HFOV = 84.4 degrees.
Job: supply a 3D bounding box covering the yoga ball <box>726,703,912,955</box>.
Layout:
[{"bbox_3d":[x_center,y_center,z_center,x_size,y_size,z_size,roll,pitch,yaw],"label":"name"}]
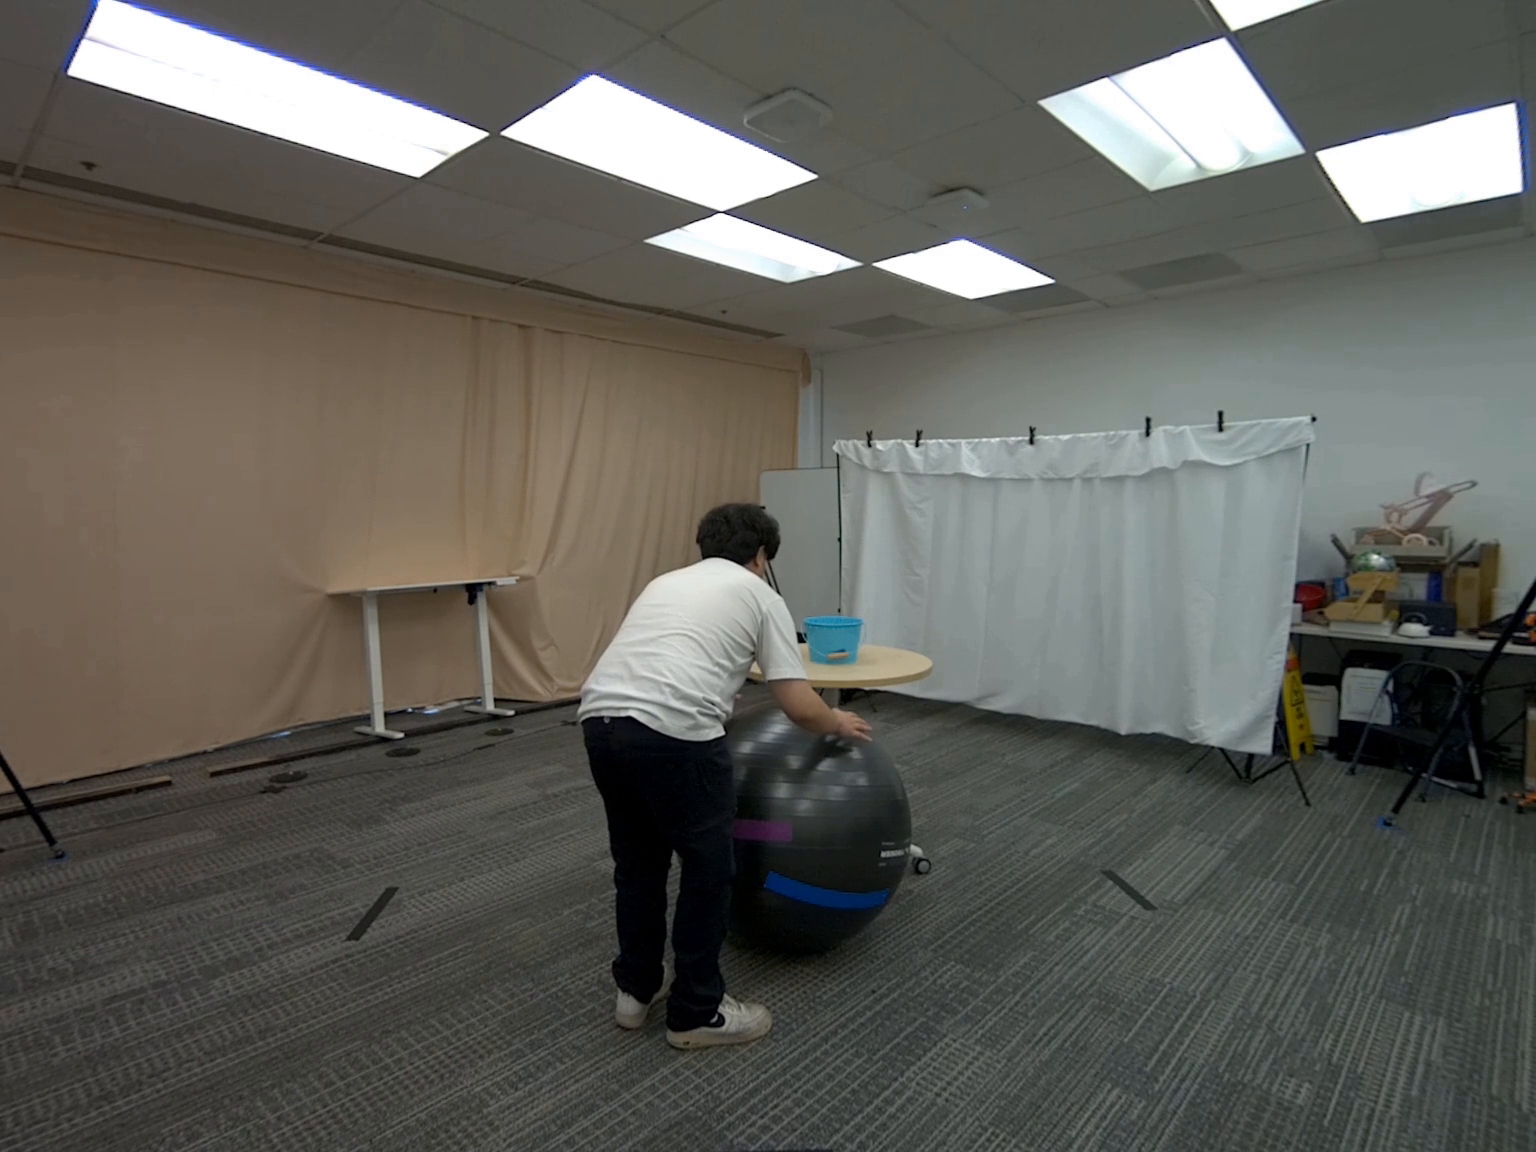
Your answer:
[{"bbox_3d":[0.076,0.799,2.713,0.757,0.756,0.760,0,4,-2],"label":"yoga ball"}]
